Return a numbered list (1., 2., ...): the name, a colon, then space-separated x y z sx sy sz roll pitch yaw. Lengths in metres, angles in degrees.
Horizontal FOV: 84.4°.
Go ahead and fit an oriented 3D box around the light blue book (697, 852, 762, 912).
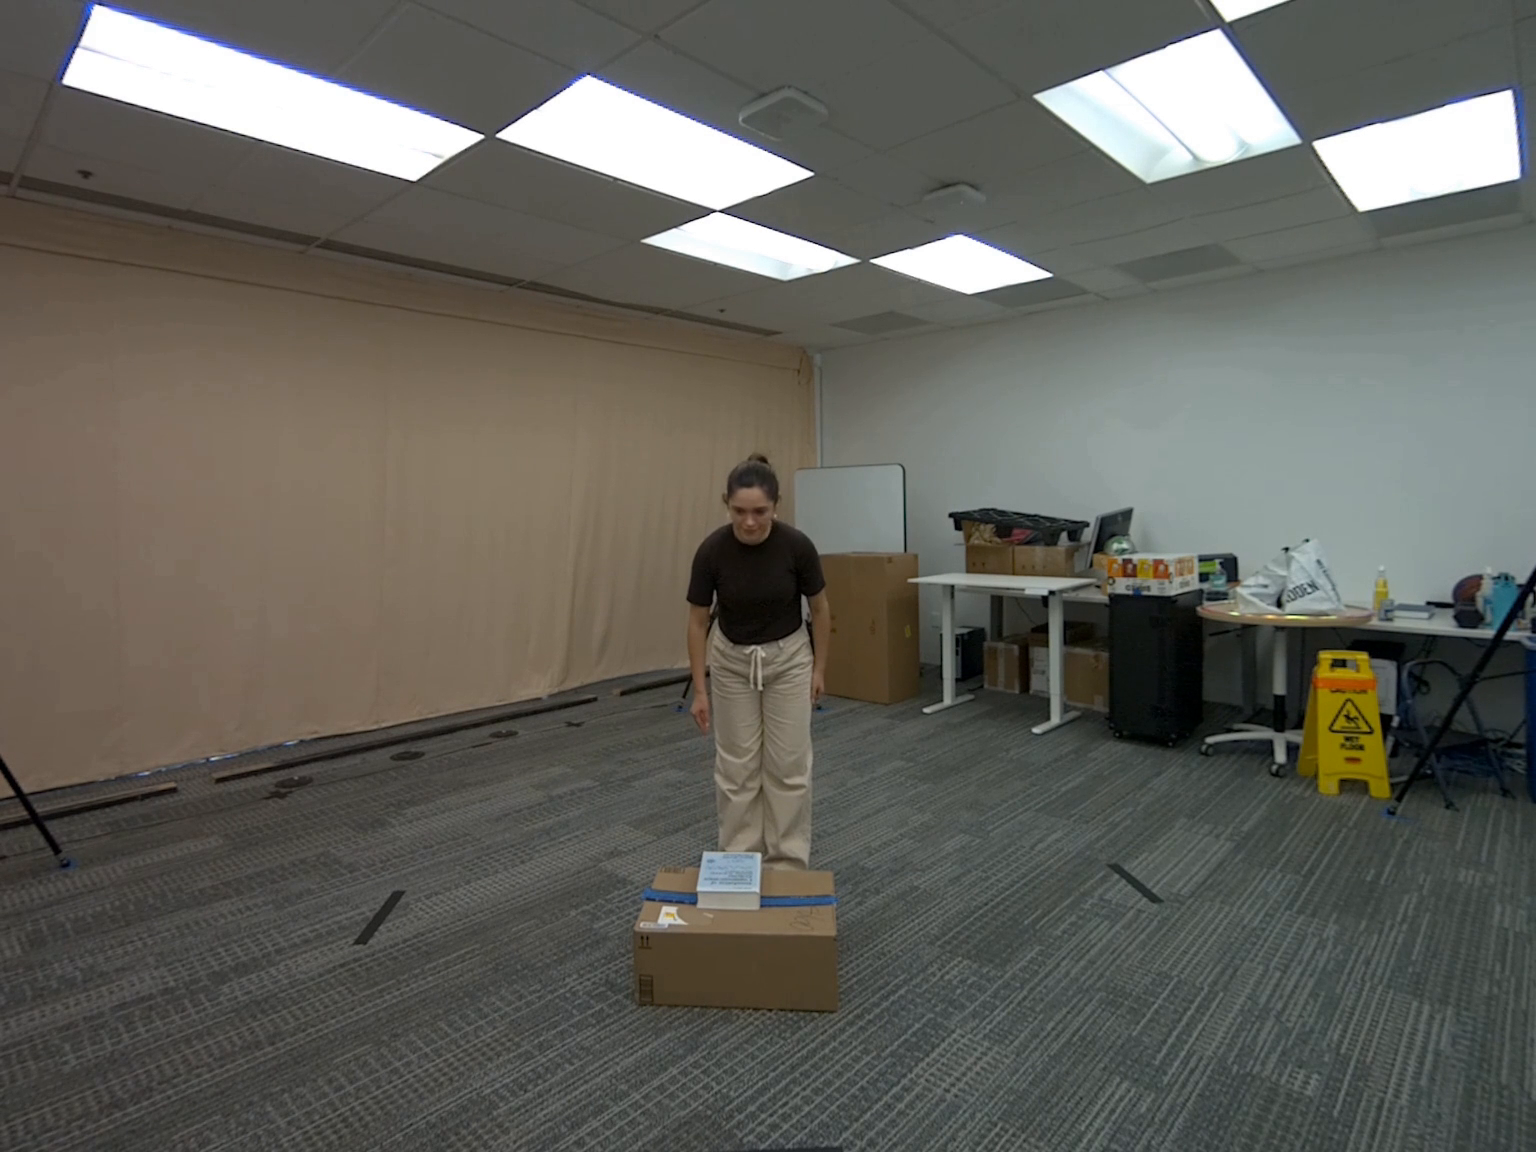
1. light blue book: -0.111 0.930 2.595 0.192 0.059 0.261 0 6 2
